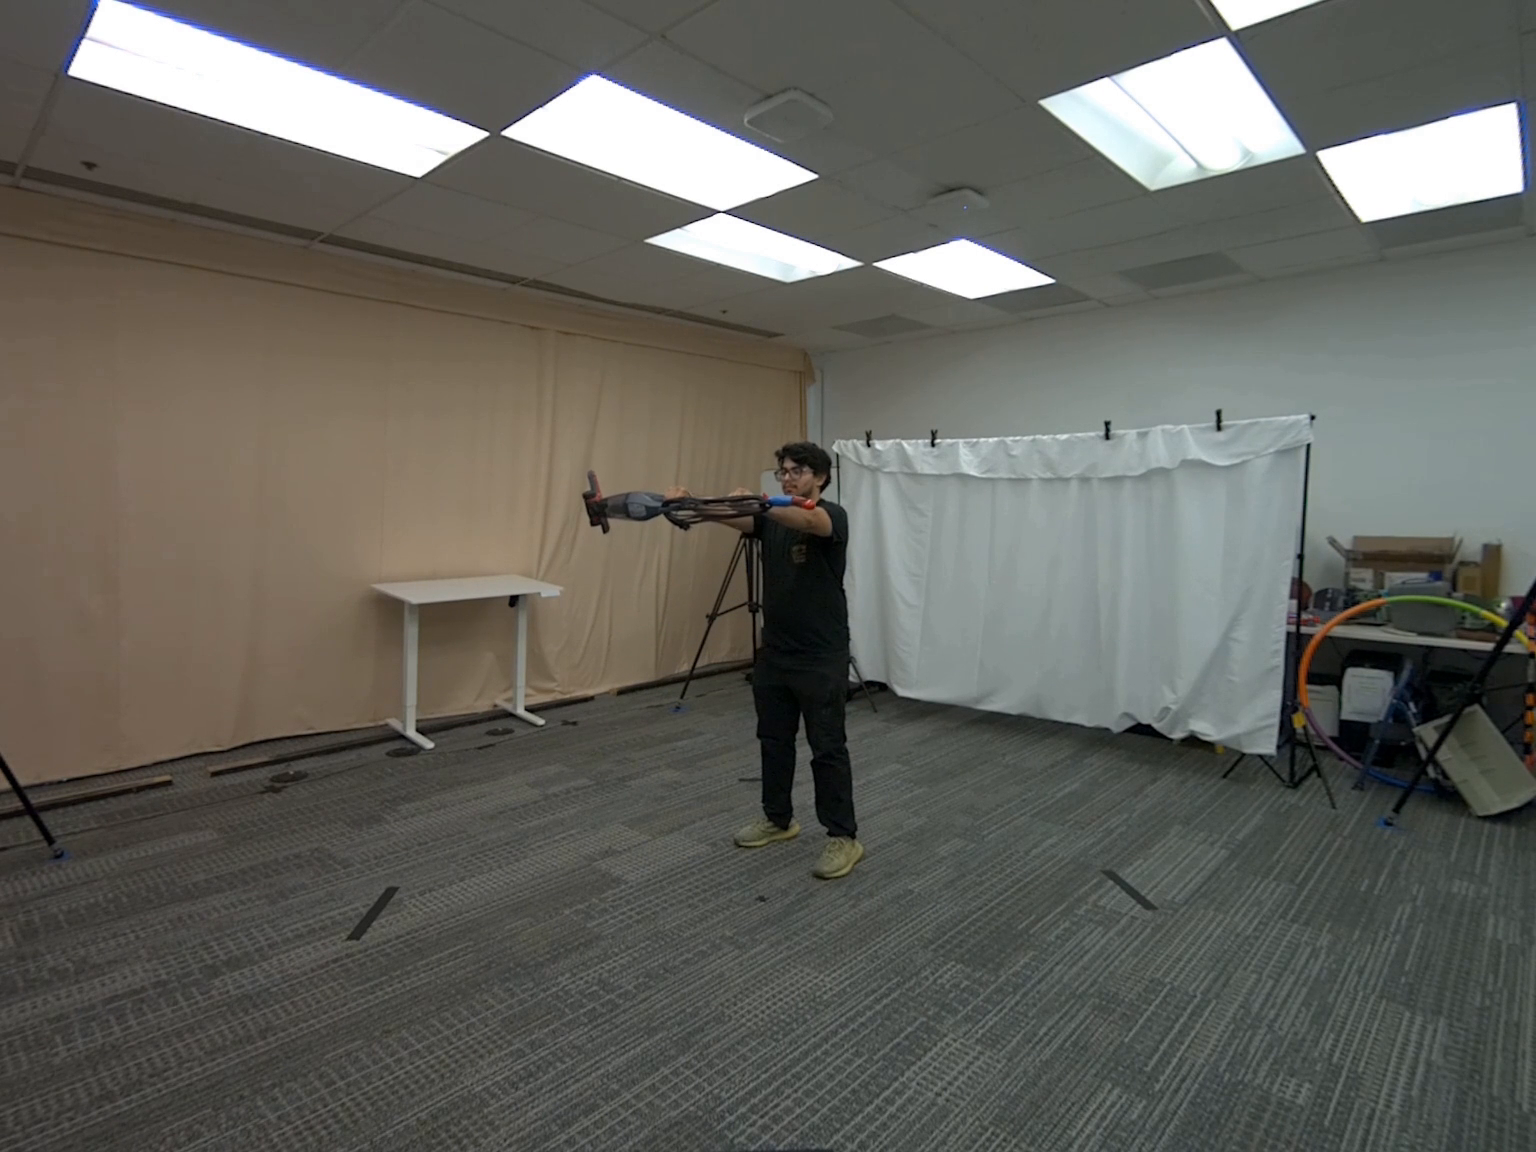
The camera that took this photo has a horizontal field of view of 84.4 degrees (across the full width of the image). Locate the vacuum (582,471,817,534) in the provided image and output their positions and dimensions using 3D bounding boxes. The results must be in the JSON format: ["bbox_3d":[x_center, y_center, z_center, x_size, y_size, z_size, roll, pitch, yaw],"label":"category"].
[{"bbox_3d":[-0.273,-0.241,2.936,1.084,0.247,0.142,5,34,40],"label":"vacuum"}]
